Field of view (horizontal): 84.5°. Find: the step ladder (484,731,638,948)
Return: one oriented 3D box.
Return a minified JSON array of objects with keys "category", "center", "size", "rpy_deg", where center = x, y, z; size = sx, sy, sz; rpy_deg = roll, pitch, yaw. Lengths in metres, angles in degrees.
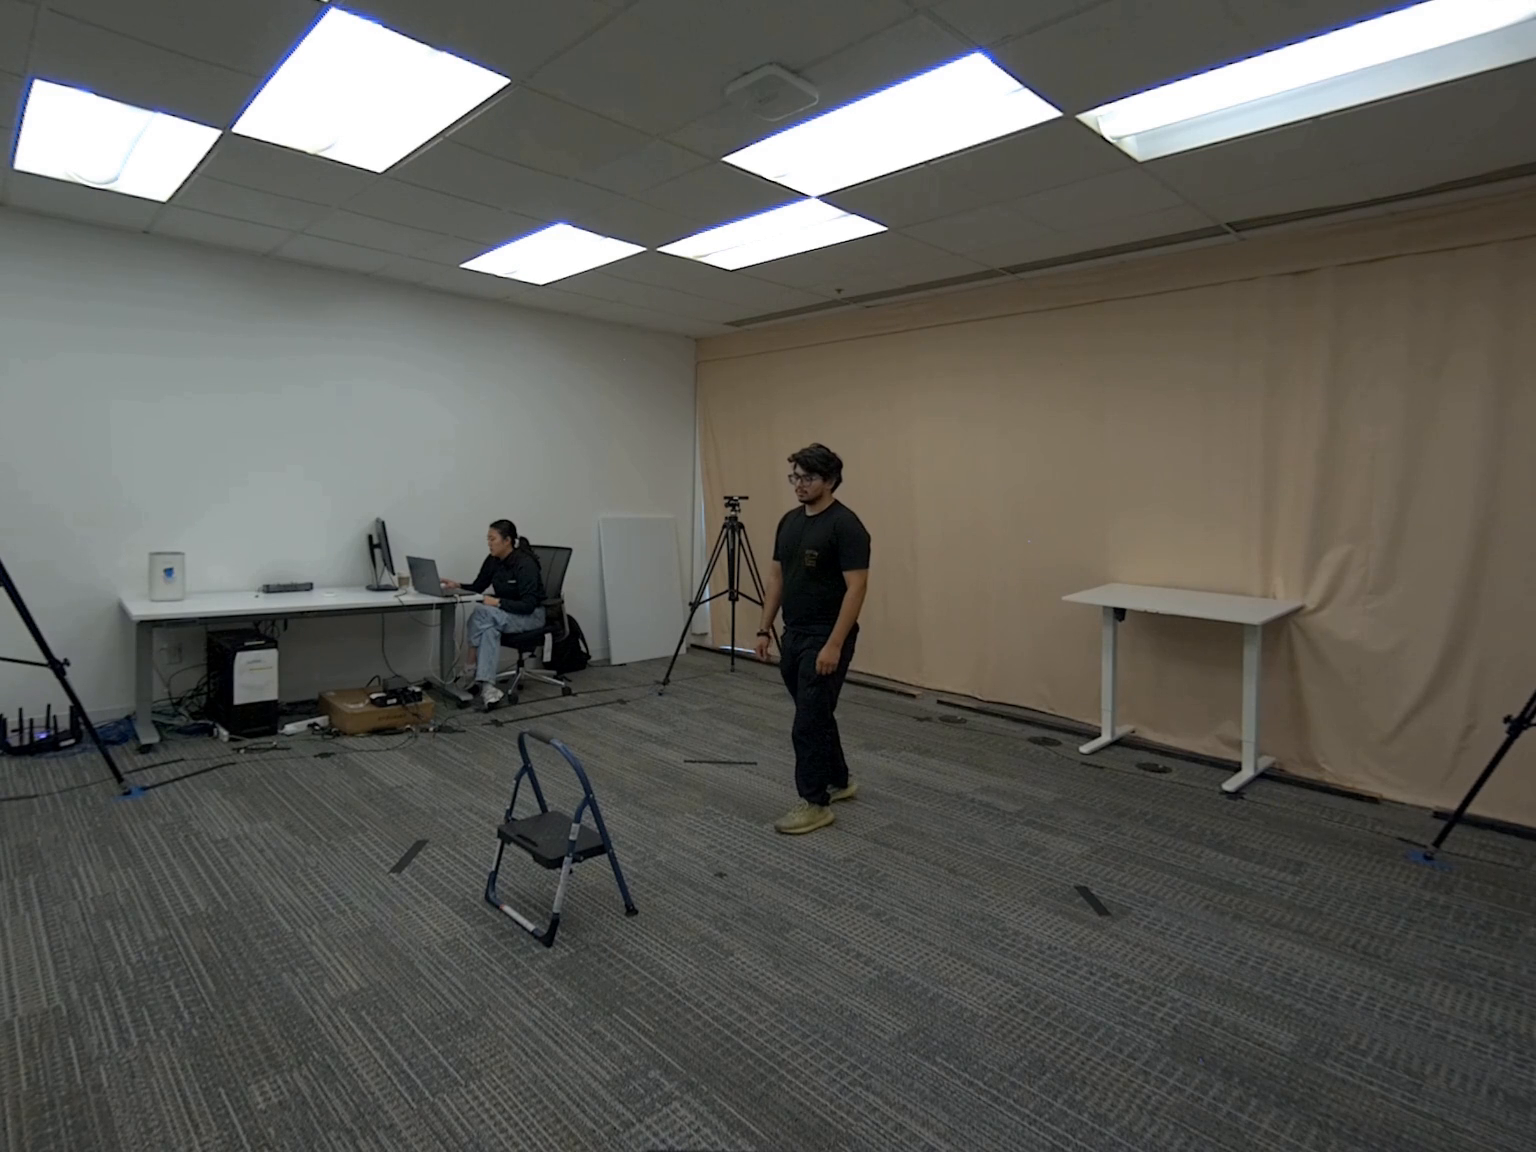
[{"category":"step ladder","center":[-0.701,0.815,2.823],"size":[0.441,0.604,0.341],"rpy_deg":[5,5,45]}]
